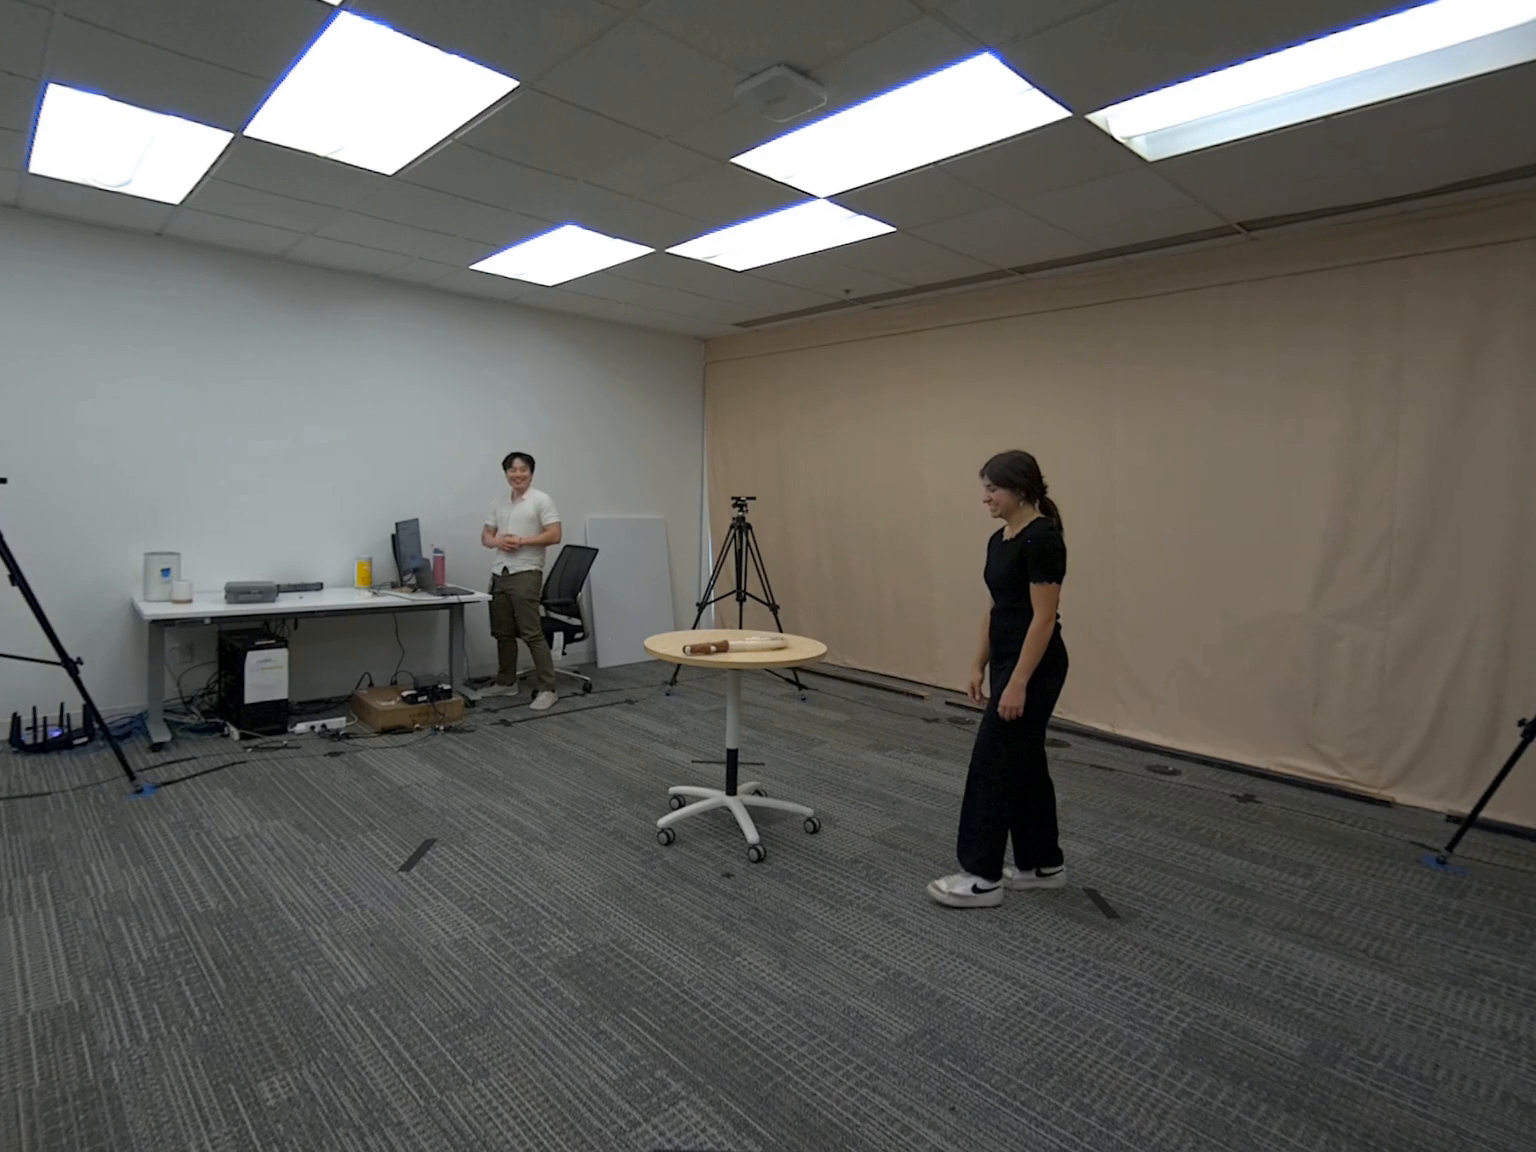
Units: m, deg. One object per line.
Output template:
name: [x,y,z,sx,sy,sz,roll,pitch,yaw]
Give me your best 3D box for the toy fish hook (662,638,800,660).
toy fish hook: [-0.147,0.288,3.406,0.496,0.048,0.229,-2,-3,-34]
